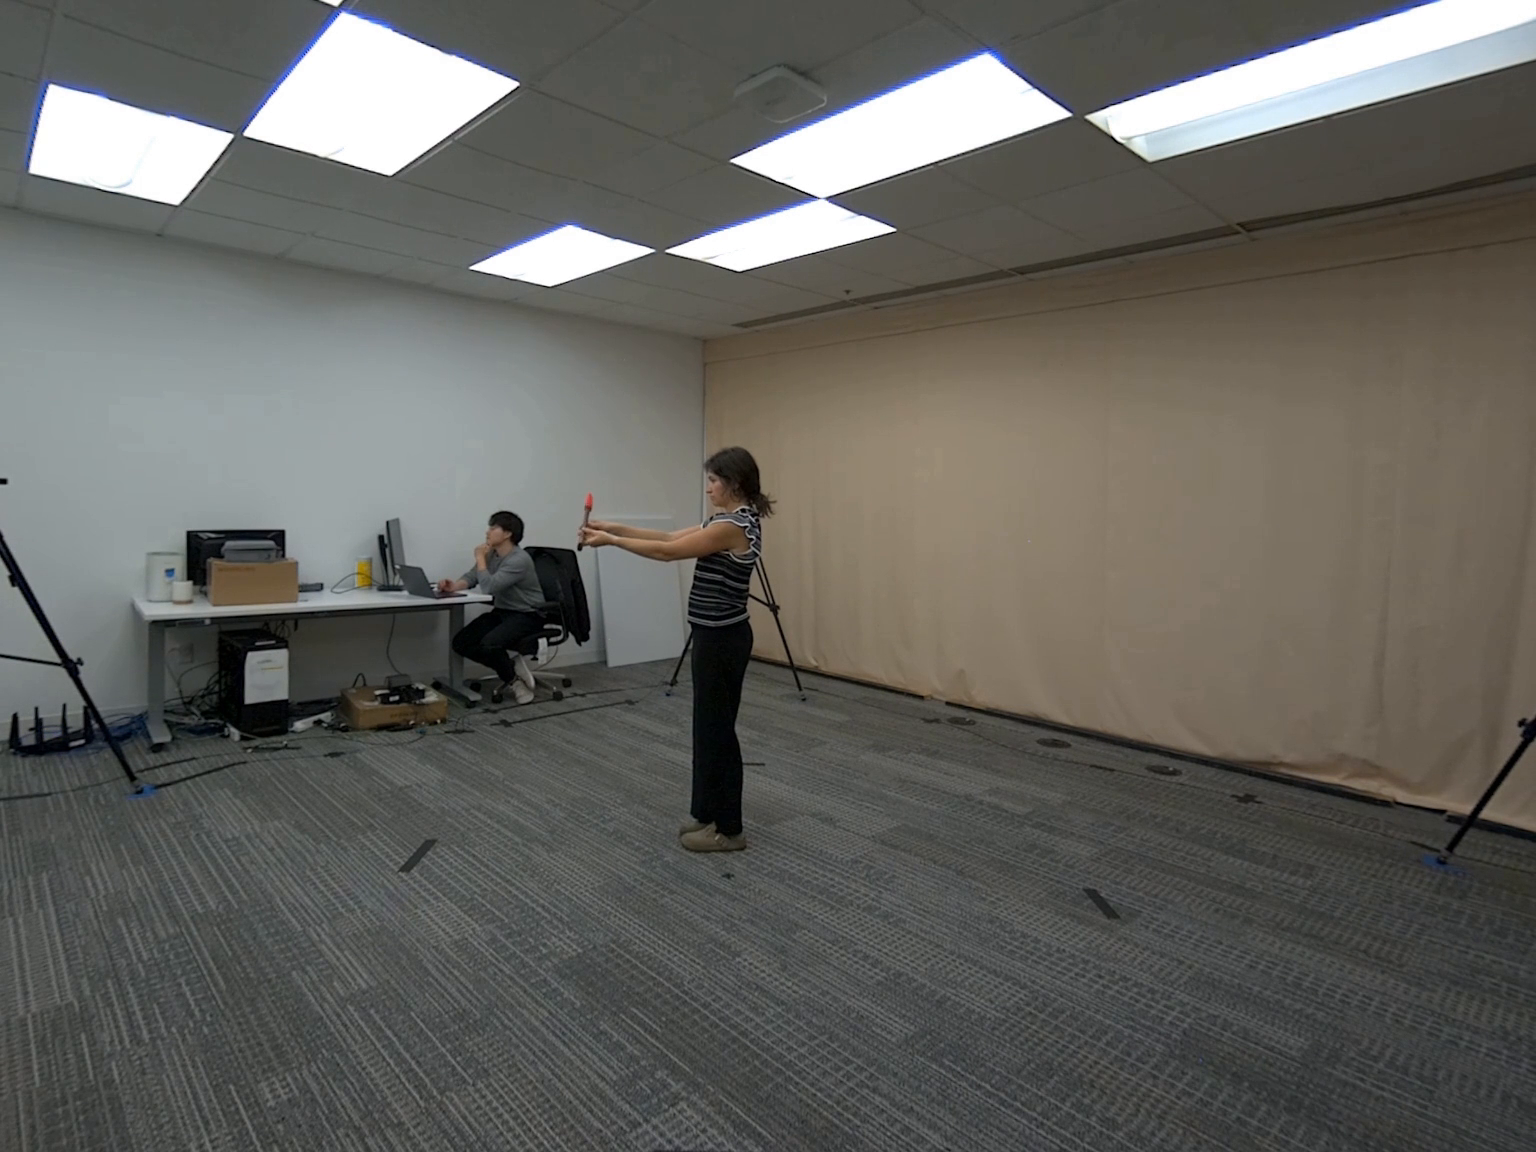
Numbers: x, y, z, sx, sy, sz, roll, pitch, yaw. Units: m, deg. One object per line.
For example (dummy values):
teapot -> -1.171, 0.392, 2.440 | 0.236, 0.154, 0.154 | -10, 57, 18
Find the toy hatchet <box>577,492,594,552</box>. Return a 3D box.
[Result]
toy hatchet -> -0.722, -0.232, 3.287 | 0.029, 0.129, 0.276 | 8, 33, -8
